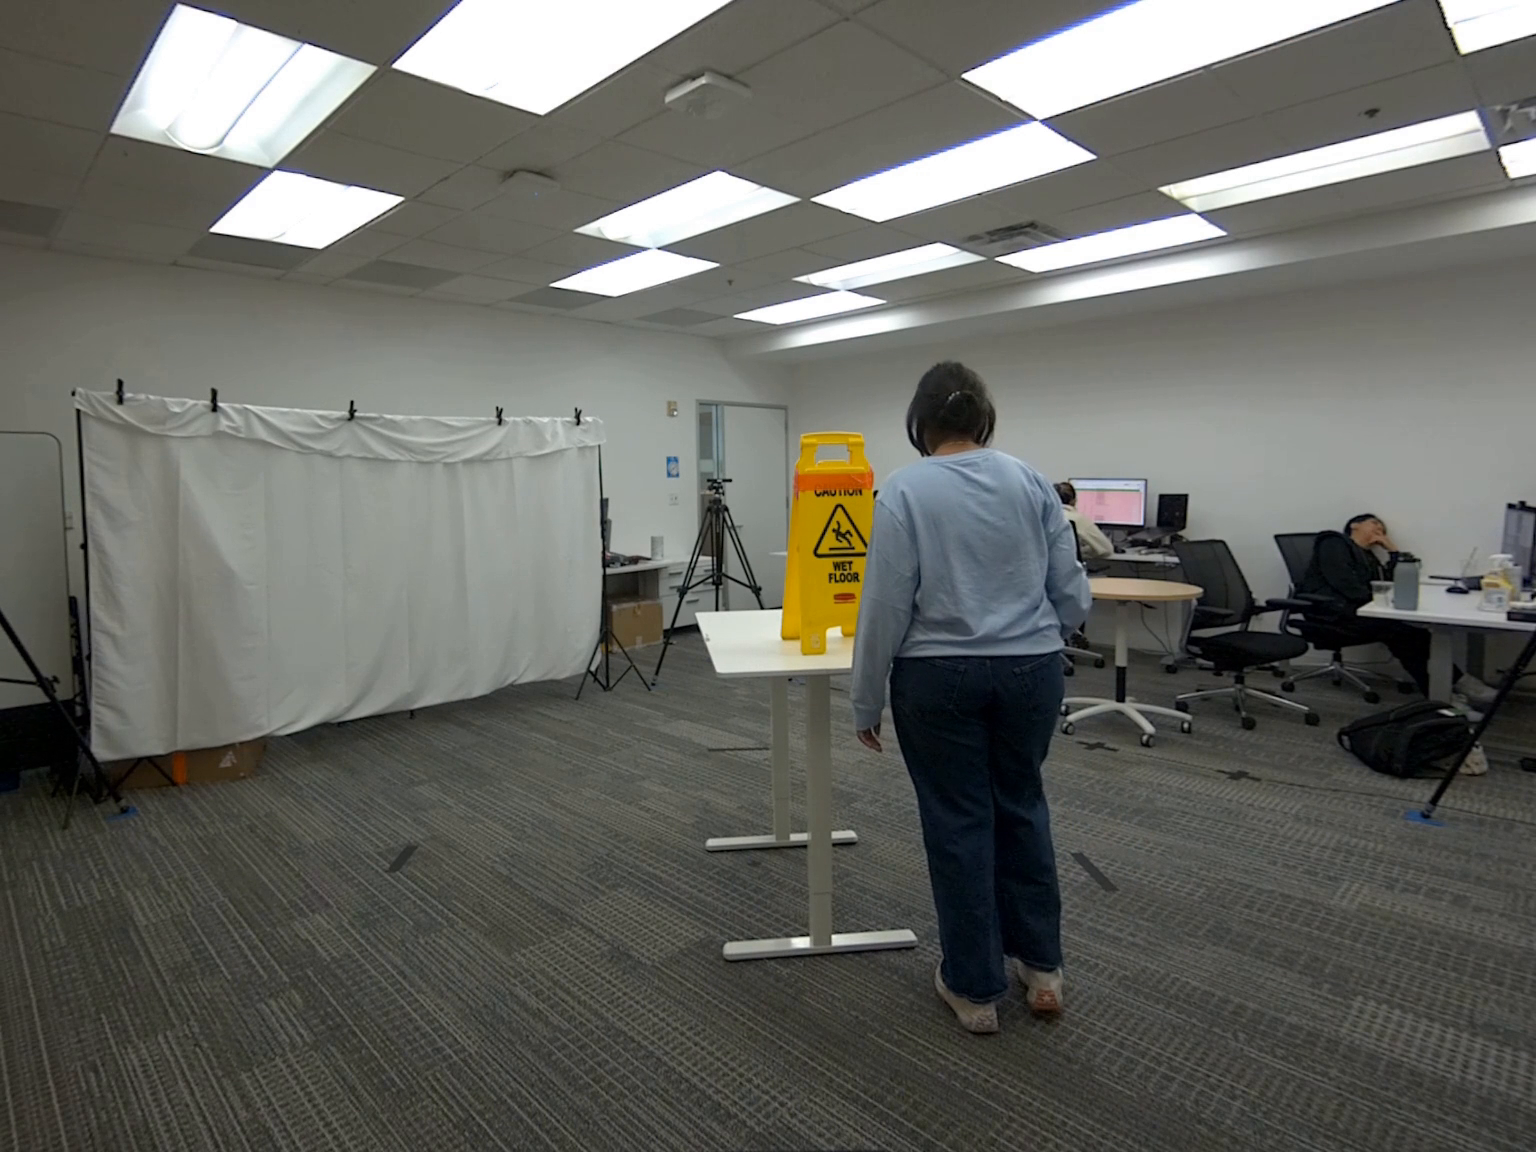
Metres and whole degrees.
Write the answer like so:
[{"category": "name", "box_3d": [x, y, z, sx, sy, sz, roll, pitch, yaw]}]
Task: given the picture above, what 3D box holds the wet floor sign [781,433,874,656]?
[{"category": "wet floor sign", "box_3d": [0.201, -0.109, 2.619, 0.279, 0.644, 0.294, -2, 4, -11]}]
